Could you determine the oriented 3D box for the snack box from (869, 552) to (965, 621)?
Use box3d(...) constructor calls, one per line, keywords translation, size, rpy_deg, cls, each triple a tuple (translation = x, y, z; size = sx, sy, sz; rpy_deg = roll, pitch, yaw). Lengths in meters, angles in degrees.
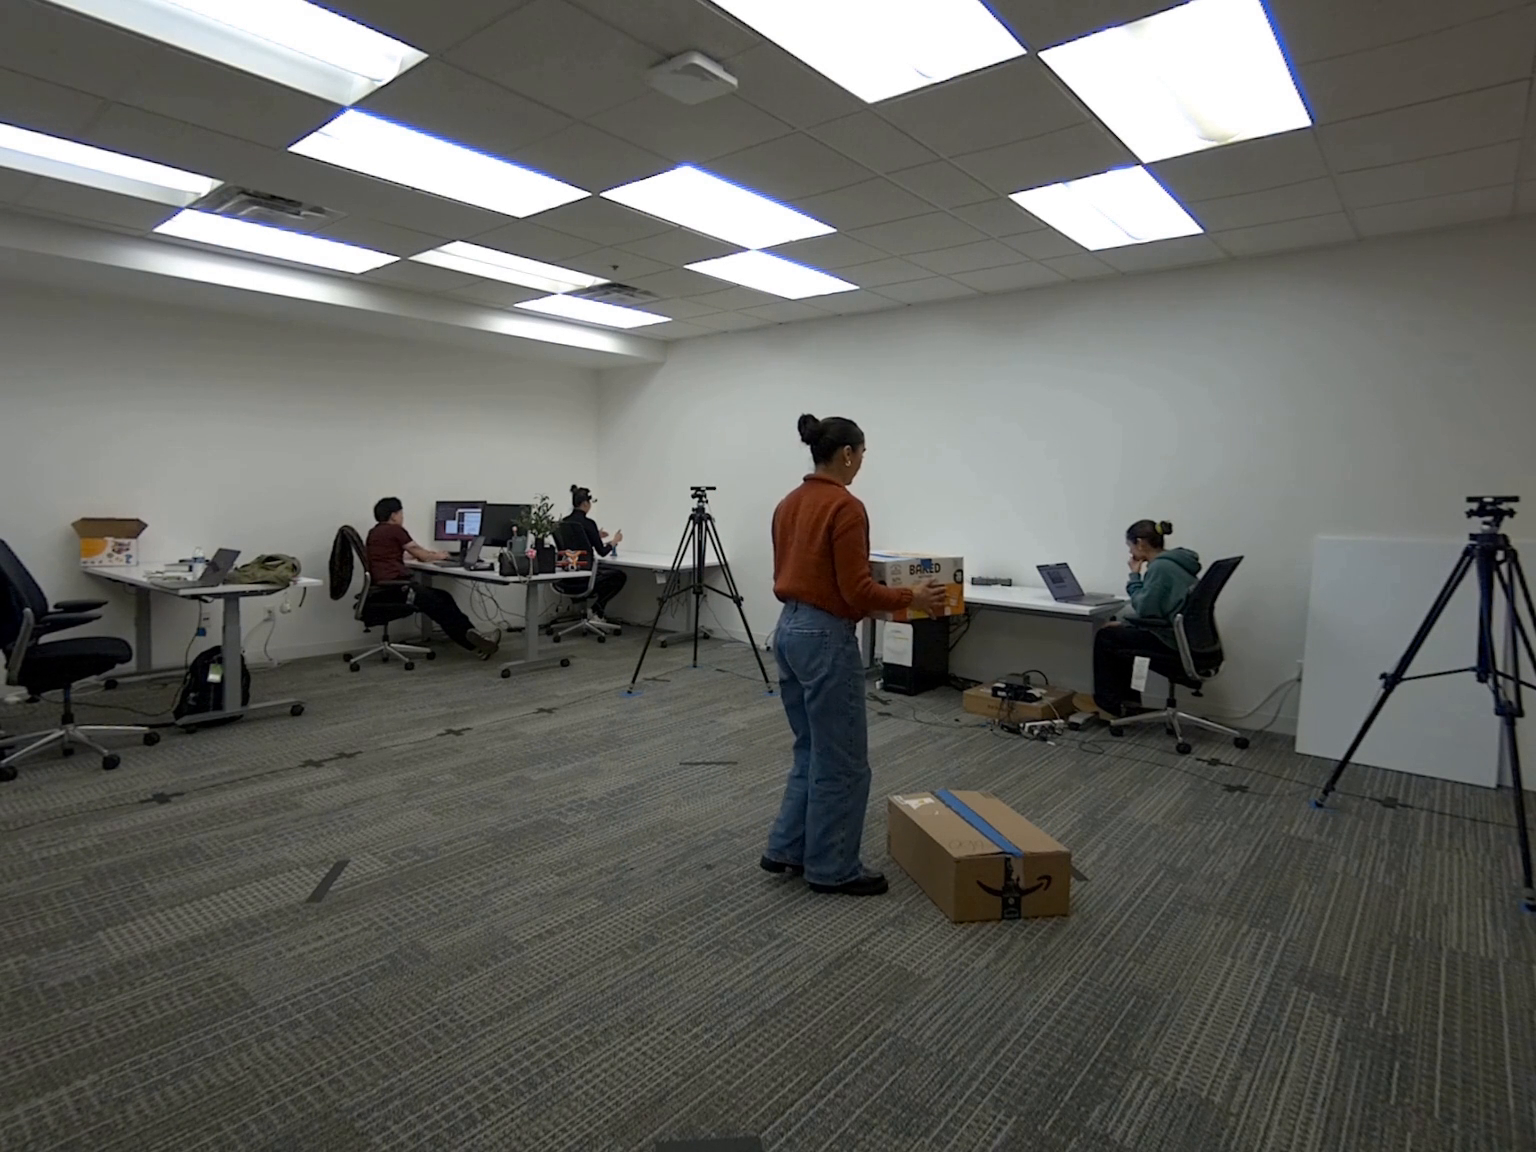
box3d(translation=(0.422, 0.025, 3.066), size=(0.332, 0.205, 0.417), rpy_deg=(-3, 5, -29), cls="snack box")
